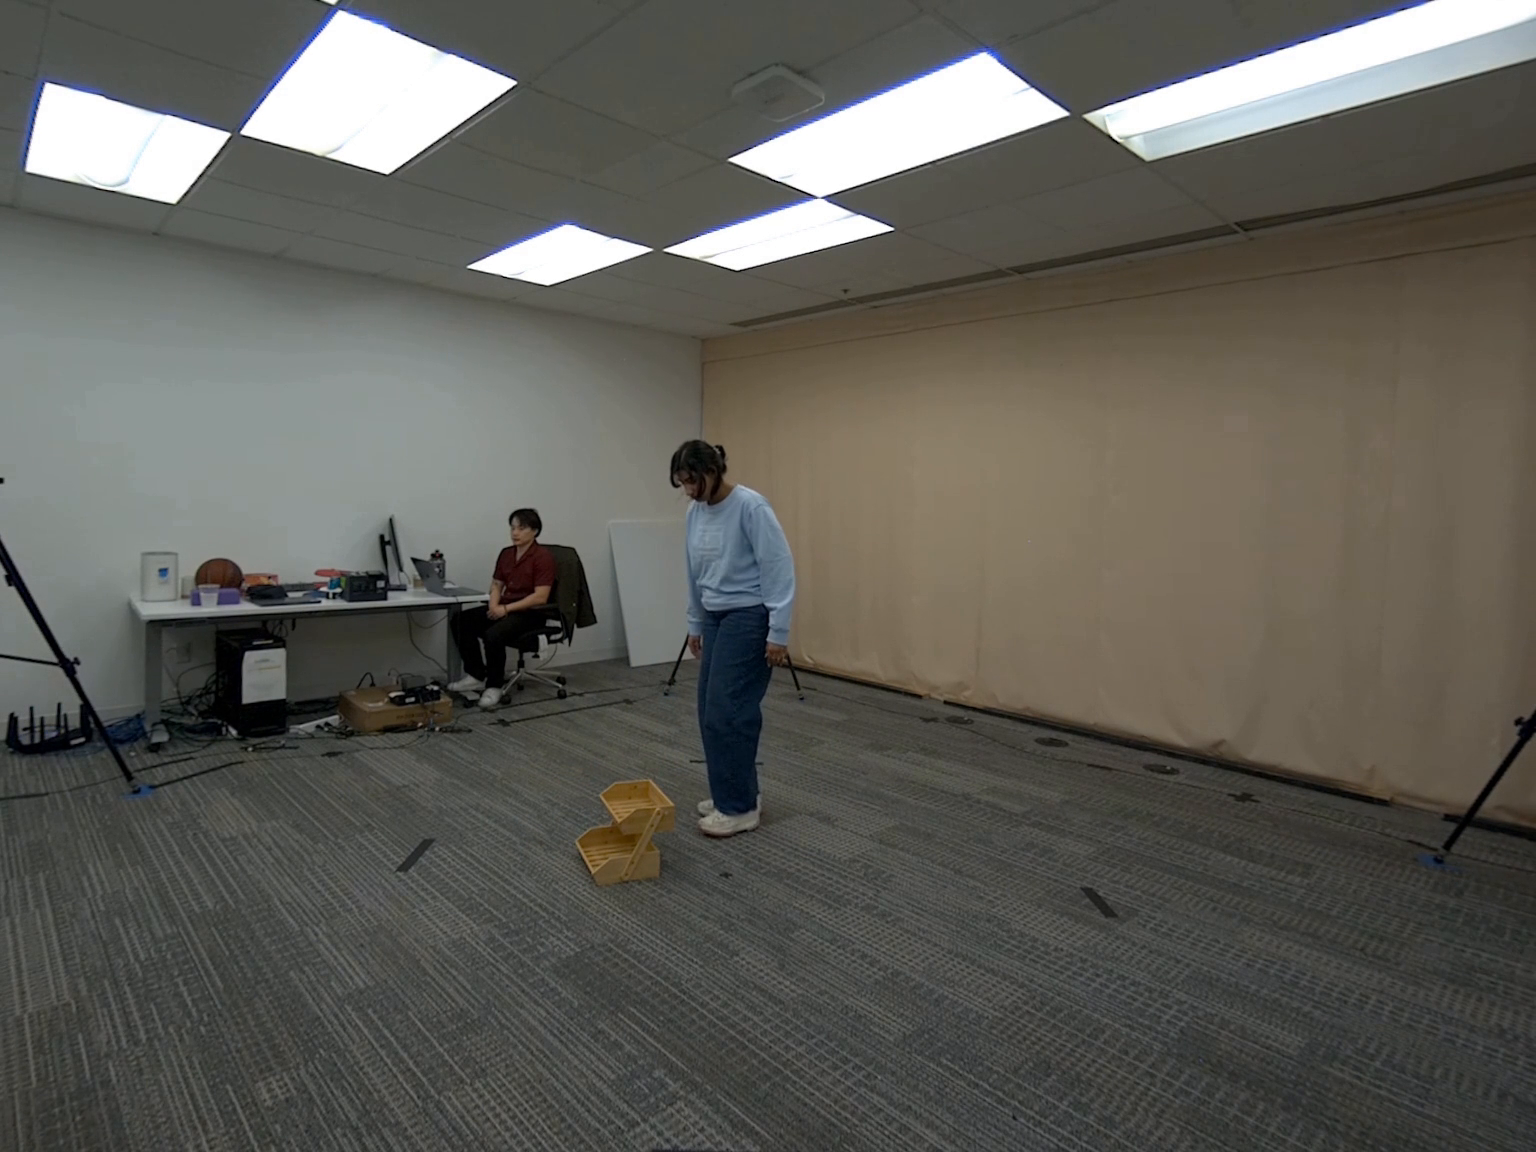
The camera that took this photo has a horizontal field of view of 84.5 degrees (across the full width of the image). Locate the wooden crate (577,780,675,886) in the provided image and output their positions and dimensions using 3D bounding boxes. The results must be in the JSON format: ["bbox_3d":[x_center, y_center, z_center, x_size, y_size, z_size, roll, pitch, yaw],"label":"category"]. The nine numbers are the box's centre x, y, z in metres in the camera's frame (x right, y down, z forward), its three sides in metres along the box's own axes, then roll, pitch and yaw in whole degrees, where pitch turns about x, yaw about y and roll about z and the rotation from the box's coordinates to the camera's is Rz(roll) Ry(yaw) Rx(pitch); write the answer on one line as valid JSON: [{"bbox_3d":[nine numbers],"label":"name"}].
[{"bbox_3d":[-0.558,0.954,3.175,0.297,0.272,0.331,0,5,-24],"label":"wooden crate"}]
